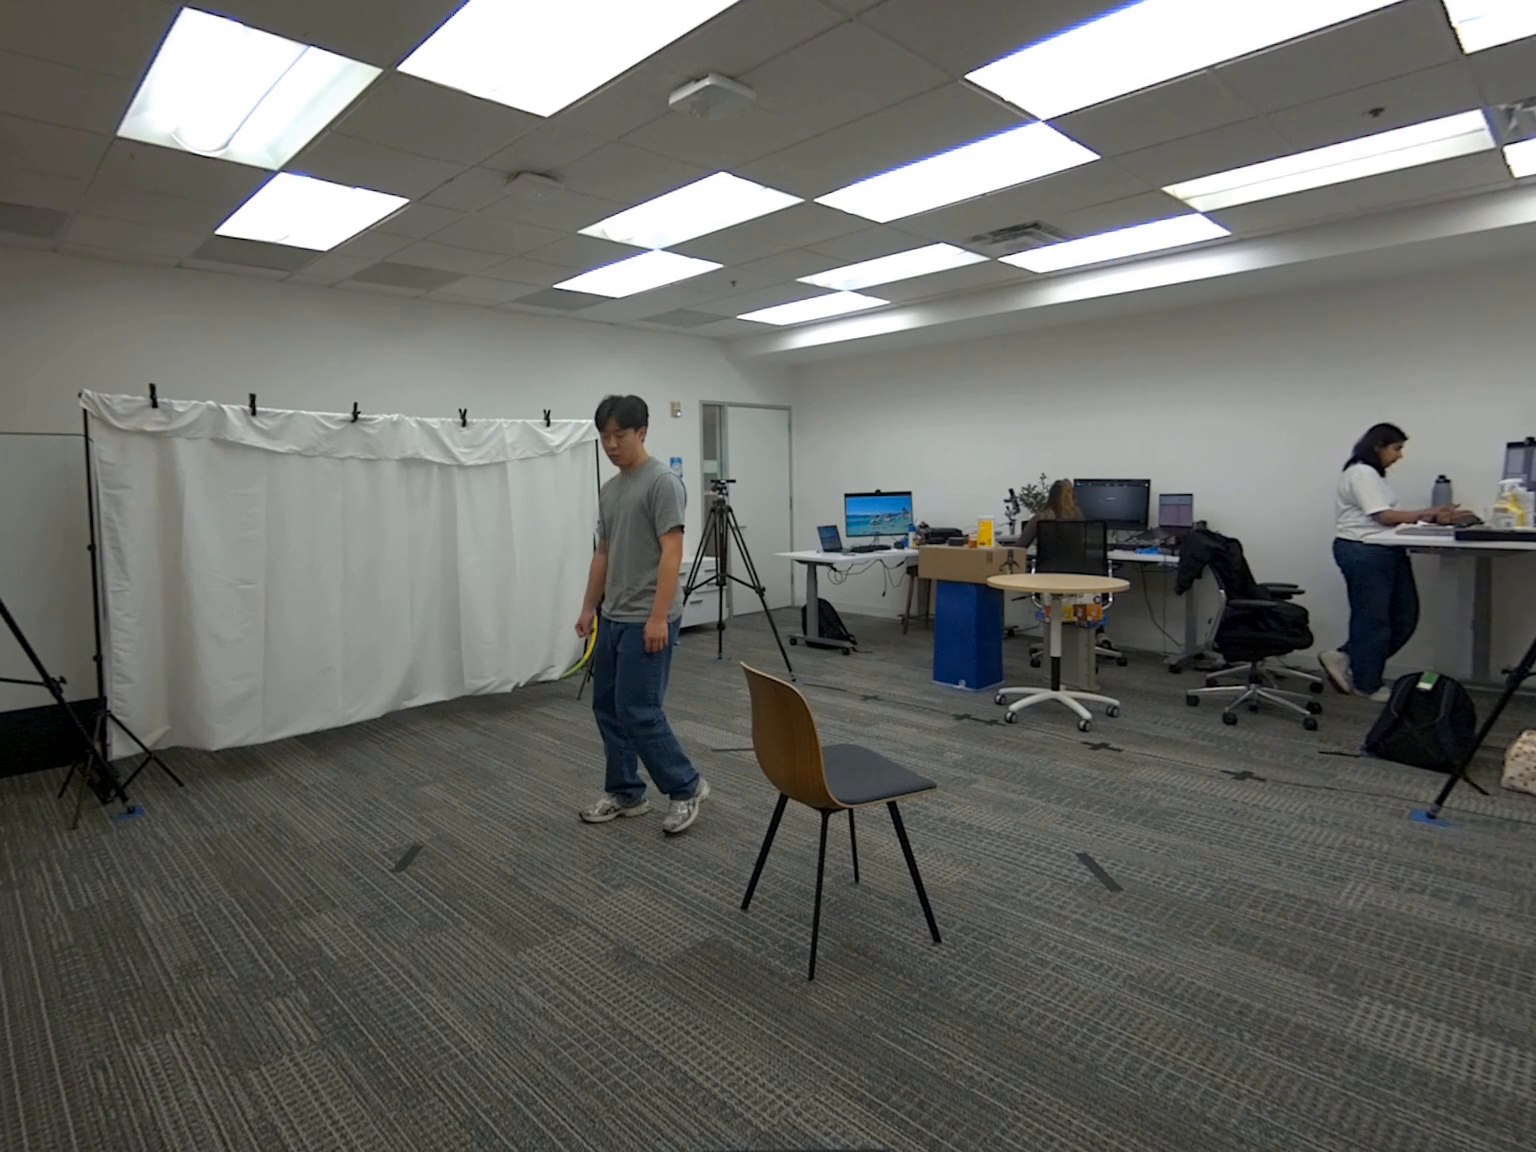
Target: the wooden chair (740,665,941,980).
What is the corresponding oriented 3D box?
[{"bbox_3d":[0.216,0.669,2.638,0.513,0.872,0.490,-8,7,-25],"label":"wooden chair"}]
